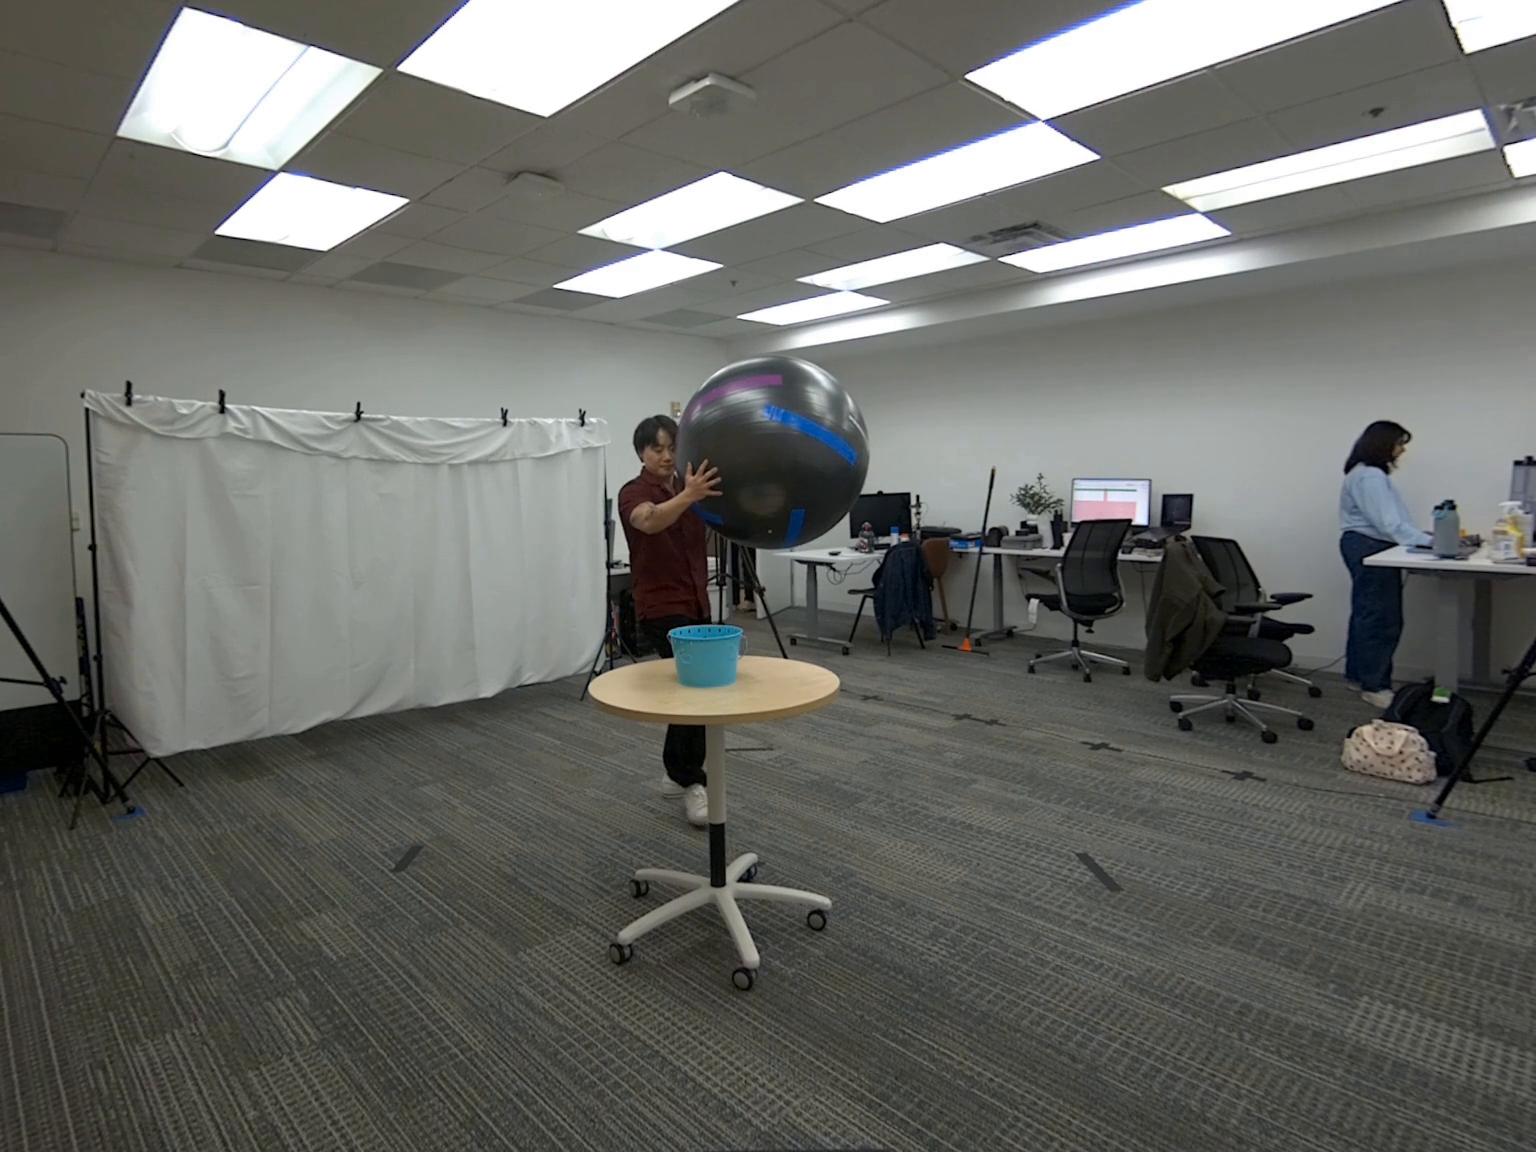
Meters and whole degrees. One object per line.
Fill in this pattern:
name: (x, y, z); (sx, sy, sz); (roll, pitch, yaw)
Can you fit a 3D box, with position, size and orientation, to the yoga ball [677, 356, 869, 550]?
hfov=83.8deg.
yoga ball: (0.013, -0.471, 3.366); (0.757, 0.755, 0.762); (-1, 5, -2)
